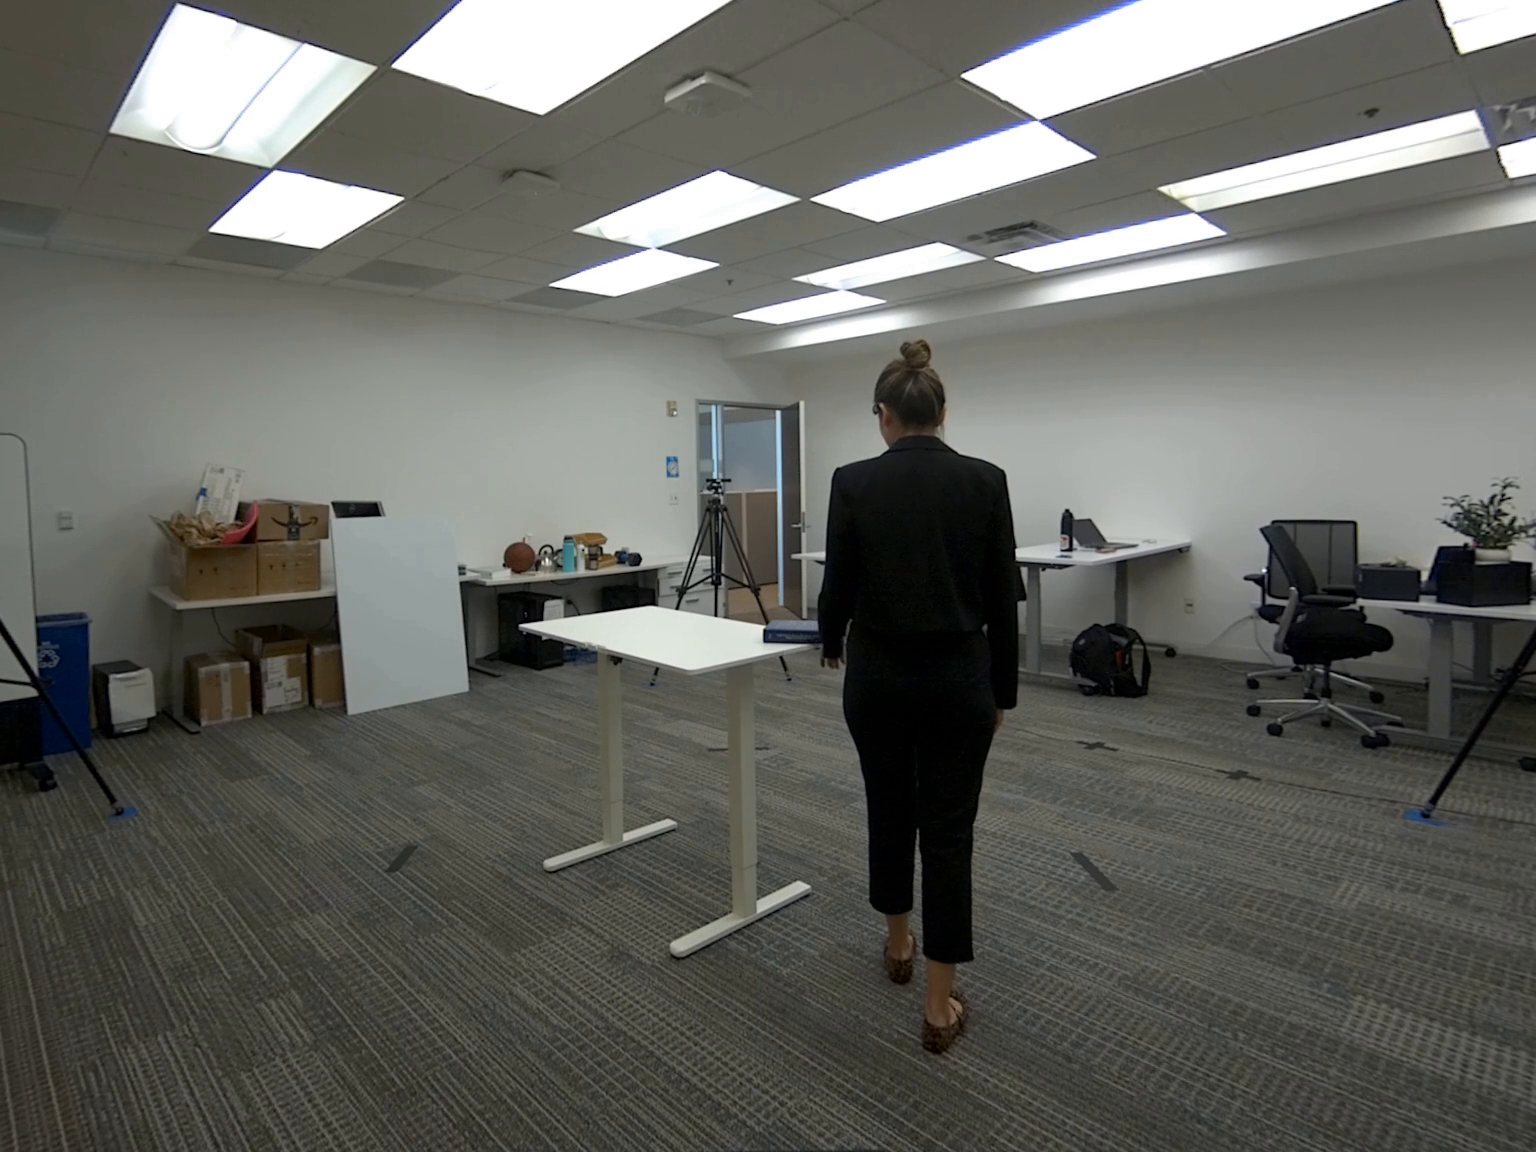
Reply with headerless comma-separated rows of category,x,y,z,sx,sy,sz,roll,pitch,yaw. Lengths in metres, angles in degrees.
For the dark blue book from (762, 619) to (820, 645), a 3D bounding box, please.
dark blue book,0.118,0.176,2.736,0.248,0.045,0.162,0,8,13
